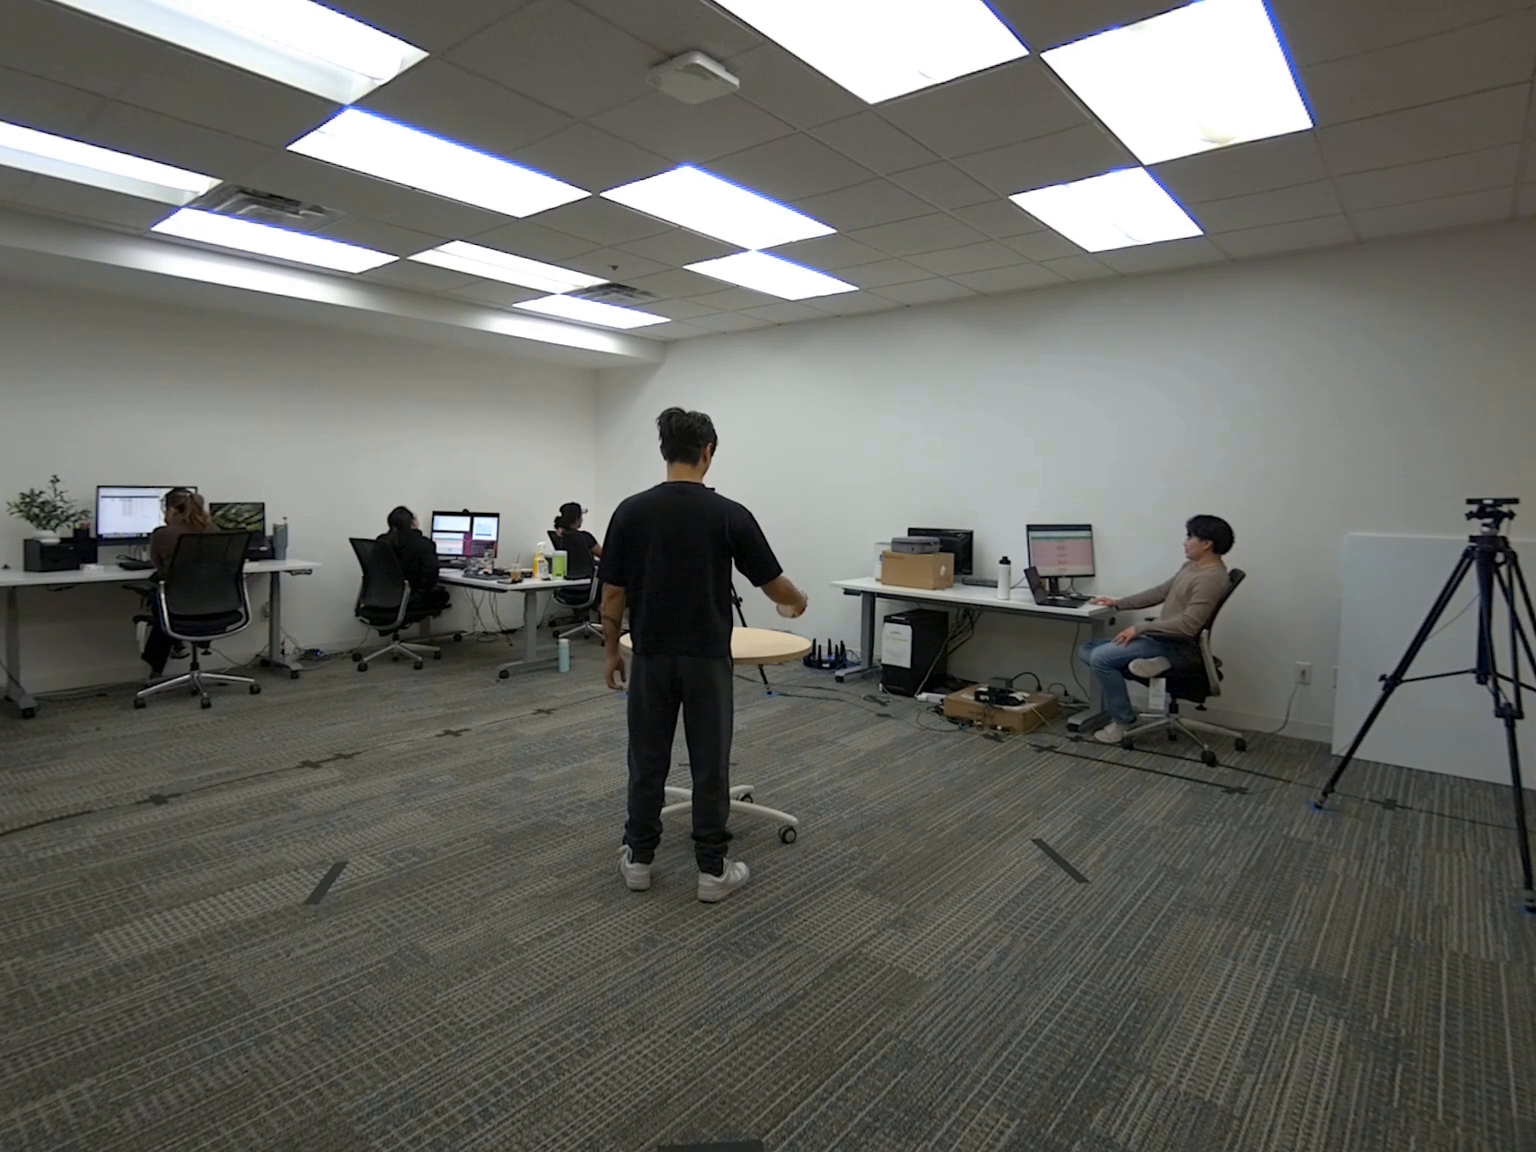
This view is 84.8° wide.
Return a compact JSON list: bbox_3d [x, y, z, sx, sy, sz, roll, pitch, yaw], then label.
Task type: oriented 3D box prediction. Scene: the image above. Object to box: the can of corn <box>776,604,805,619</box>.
[{"bbox_3d":[0.067,0.115,3.260,0.074,0.074,0.112,1,6,-2],"label":"can of corn"}]
